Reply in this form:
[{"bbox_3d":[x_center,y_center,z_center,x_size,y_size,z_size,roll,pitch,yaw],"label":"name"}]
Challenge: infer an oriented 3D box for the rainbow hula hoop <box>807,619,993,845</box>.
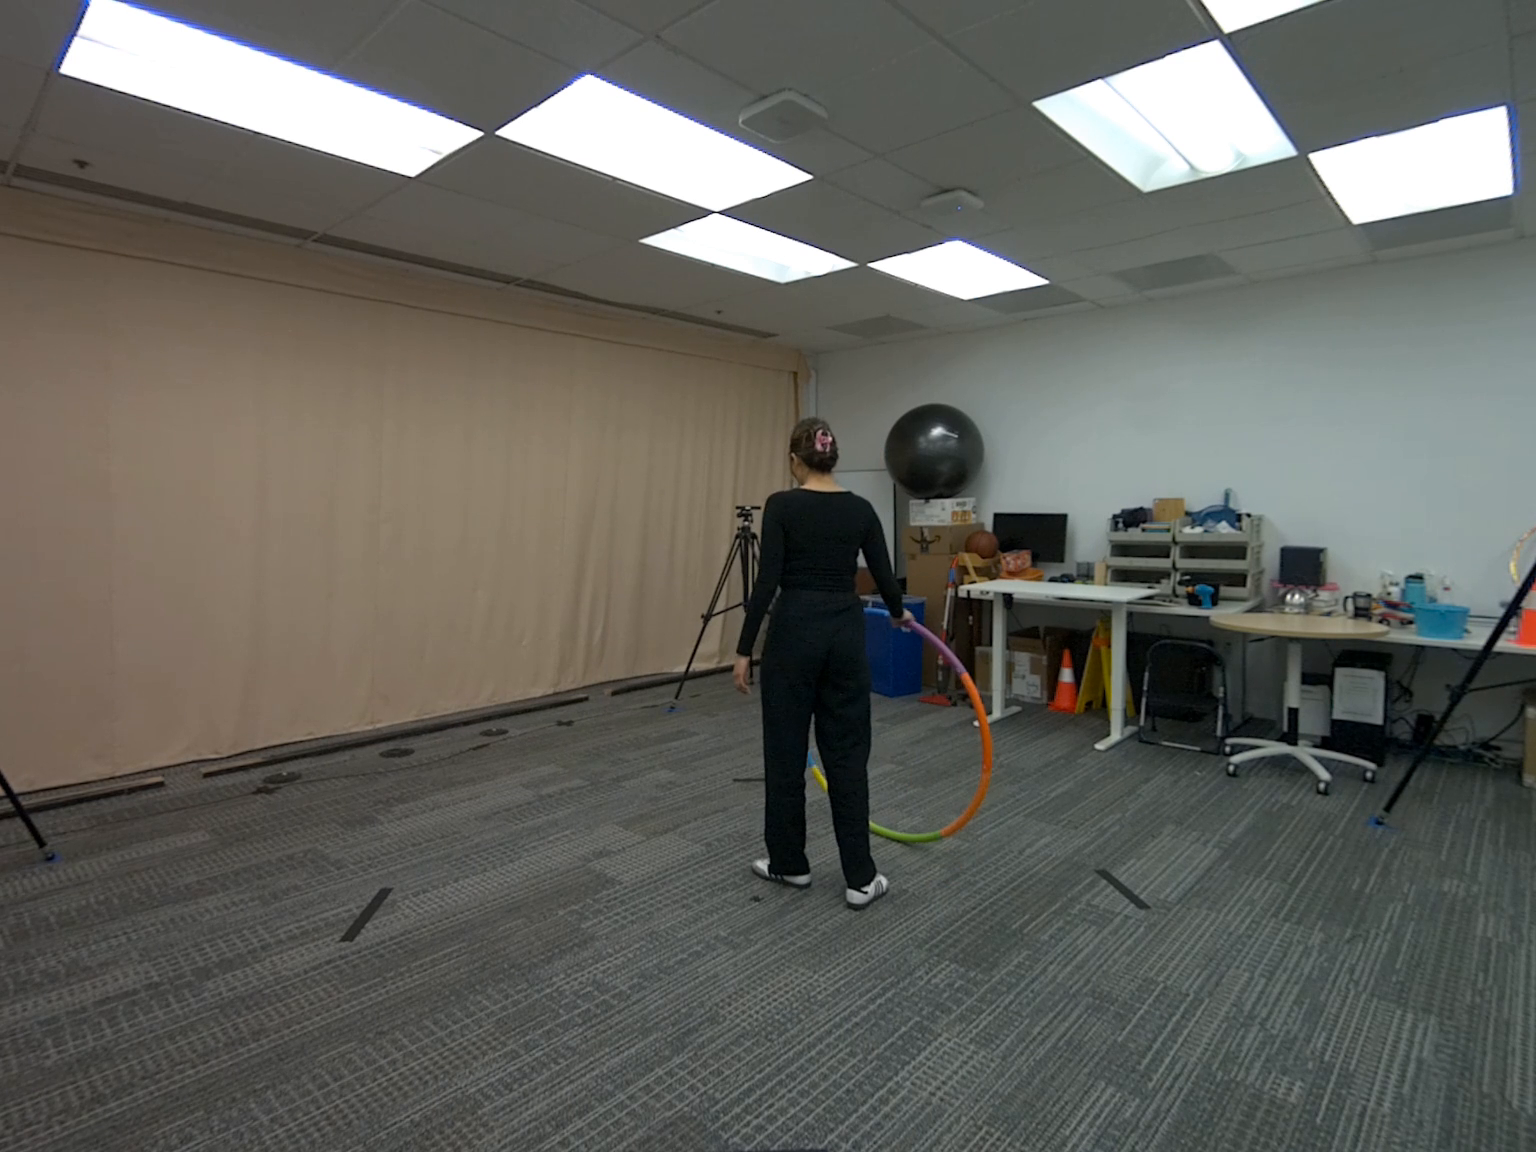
[{"bbox_3d":[0.460,0.614,3.484,0.034,0.973,1.011,-10,10,-43],"label":"rainbow hula hoop"}]
